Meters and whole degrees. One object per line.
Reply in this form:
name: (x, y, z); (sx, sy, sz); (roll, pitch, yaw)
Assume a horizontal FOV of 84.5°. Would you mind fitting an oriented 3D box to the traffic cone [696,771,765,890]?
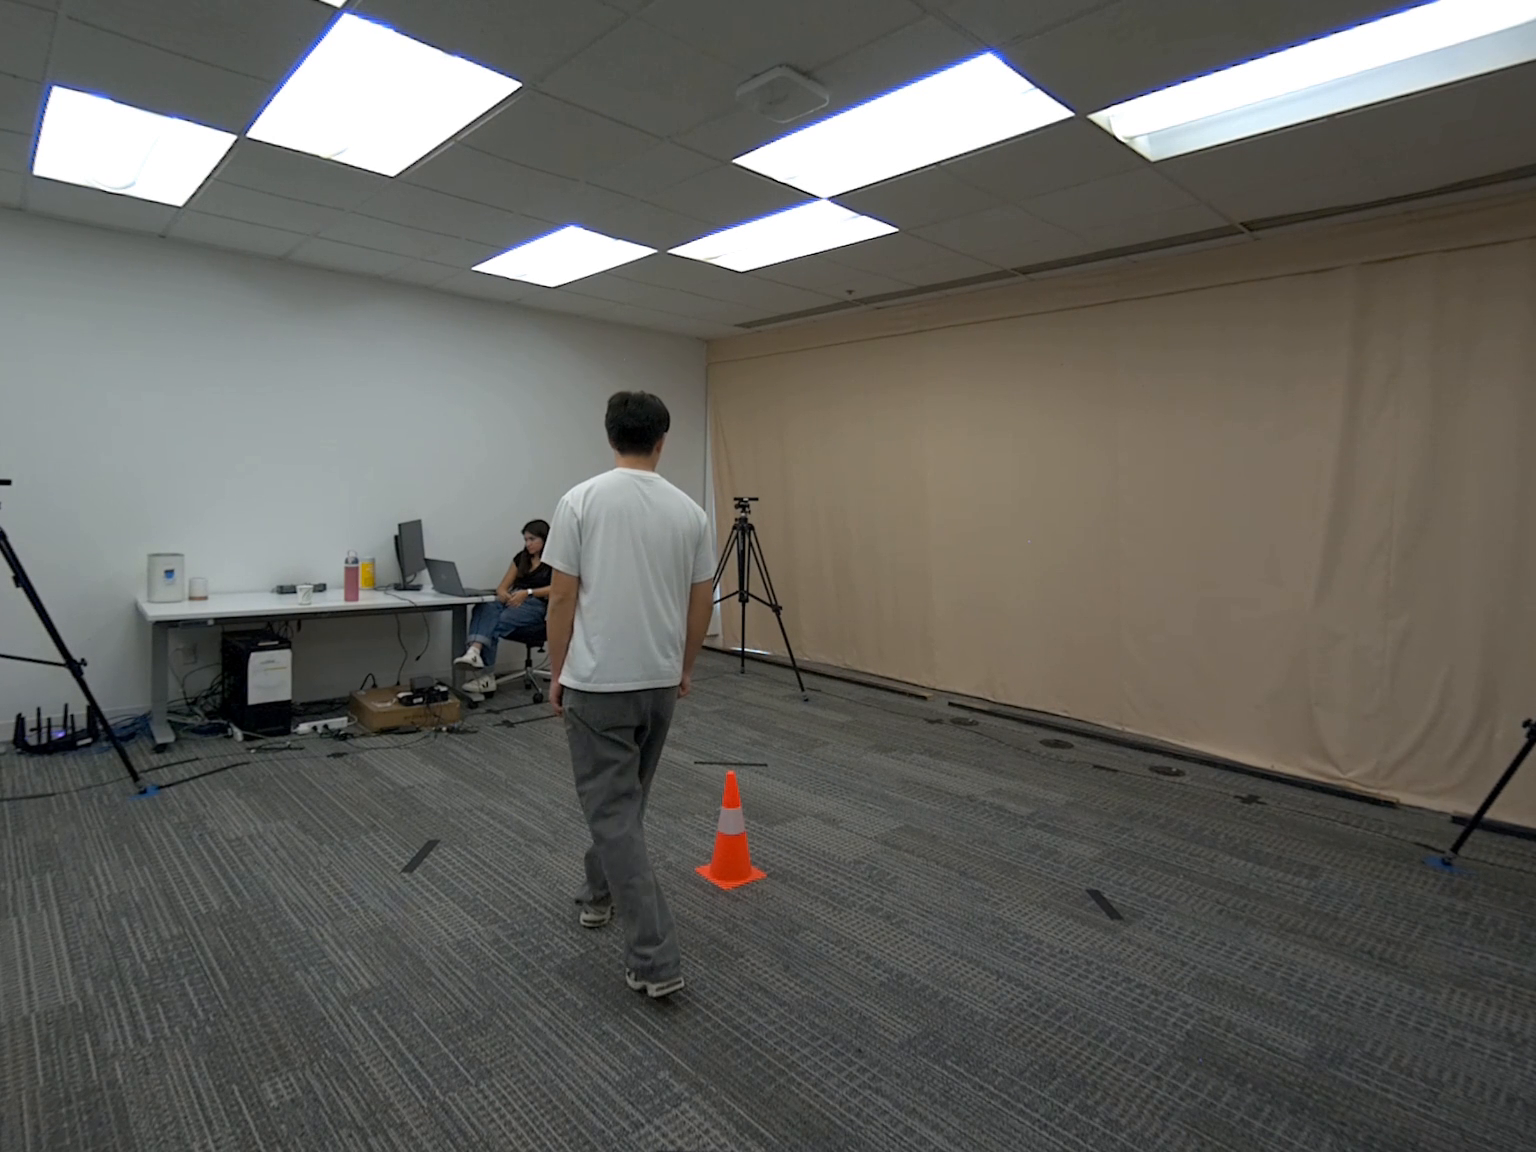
traffic cone: (-0.145, 0.925, 3.112); (0.199, 0.382, 0.210); (-4, 7, -43)
